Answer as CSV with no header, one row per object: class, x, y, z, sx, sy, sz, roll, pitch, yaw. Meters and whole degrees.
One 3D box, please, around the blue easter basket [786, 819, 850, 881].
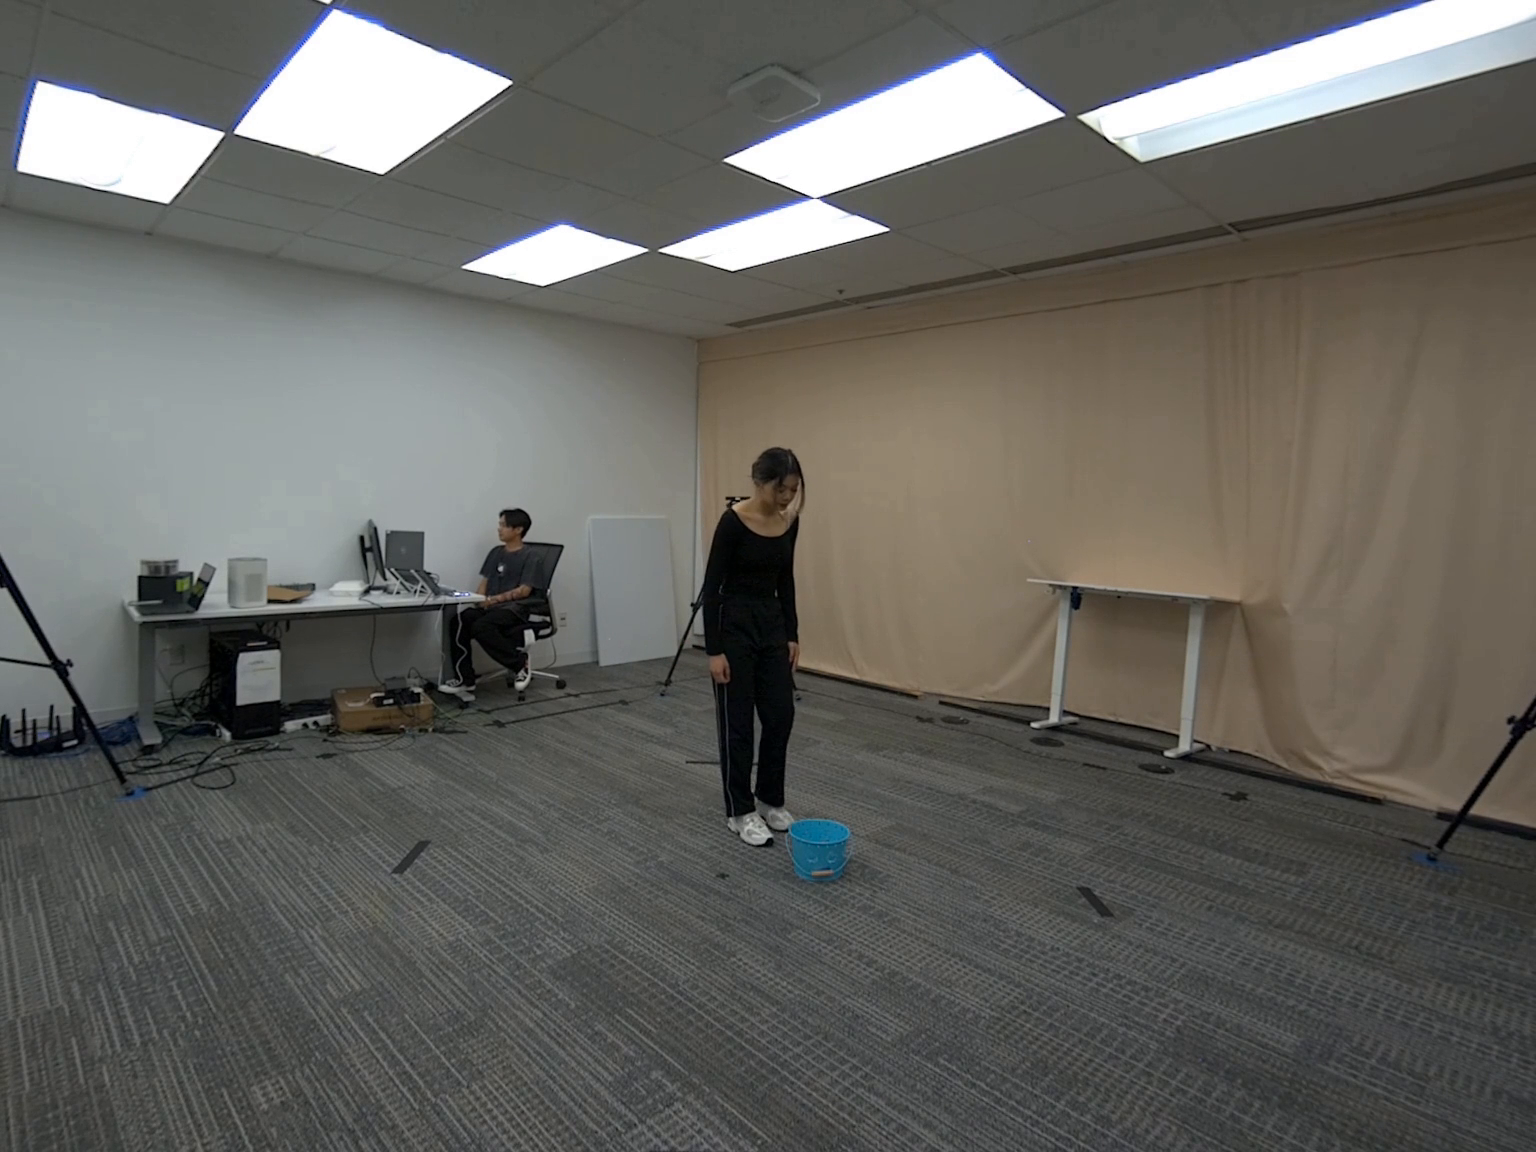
blue easter basket,0.177,1.029,3.157,0.243,0.155,0.244,1,4,-1
